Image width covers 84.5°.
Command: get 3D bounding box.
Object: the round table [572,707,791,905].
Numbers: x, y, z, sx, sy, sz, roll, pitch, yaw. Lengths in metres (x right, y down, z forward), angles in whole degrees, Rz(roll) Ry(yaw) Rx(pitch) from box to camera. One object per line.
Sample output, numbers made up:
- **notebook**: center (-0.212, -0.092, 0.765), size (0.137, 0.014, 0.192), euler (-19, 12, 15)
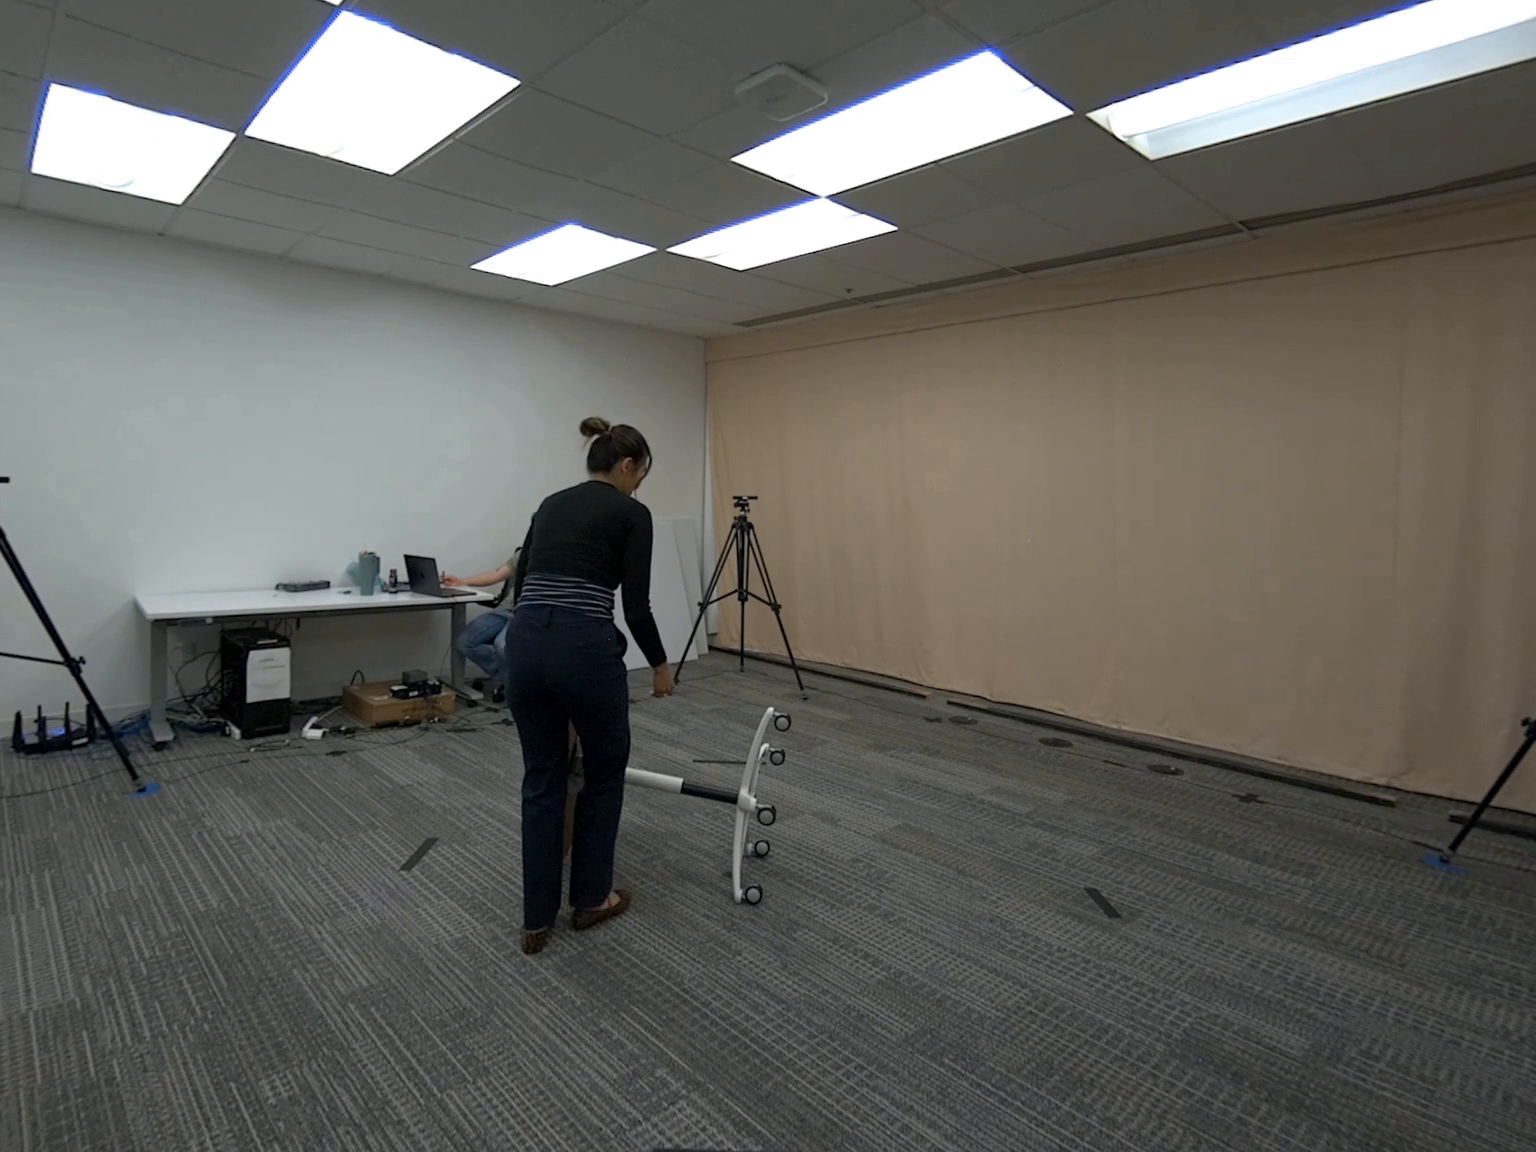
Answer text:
- **round table**: center (-0.360, 0.774, 3.097), size (0.798, 0.762, 0.762), euler (9, 5, 5)
